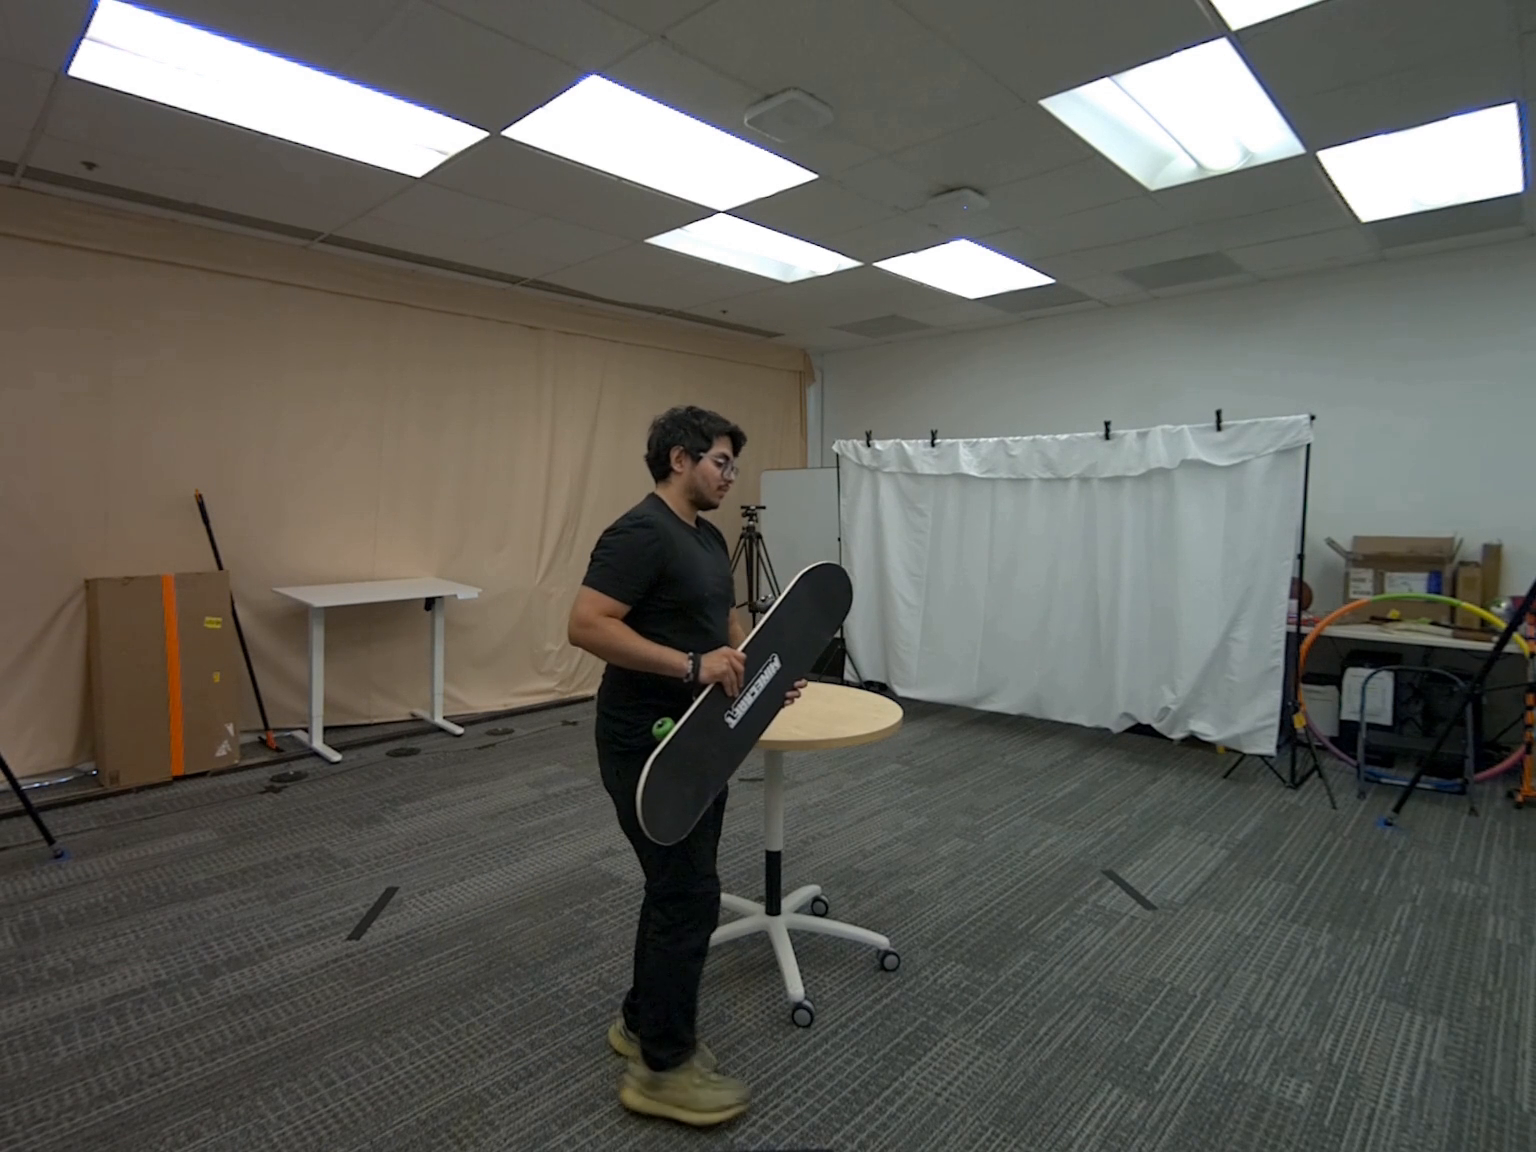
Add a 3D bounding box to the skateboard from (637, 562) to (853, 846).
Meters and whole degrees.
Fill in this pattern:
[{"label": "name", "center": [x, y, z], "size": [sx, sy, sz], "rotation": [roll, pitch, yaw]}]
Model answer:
[{"label": "skateboard", "center": [-0.053, 0.256, 1.909], "size": [0.114, 0.188, 0.780], "rotation": [-1, 40, 48]}]
